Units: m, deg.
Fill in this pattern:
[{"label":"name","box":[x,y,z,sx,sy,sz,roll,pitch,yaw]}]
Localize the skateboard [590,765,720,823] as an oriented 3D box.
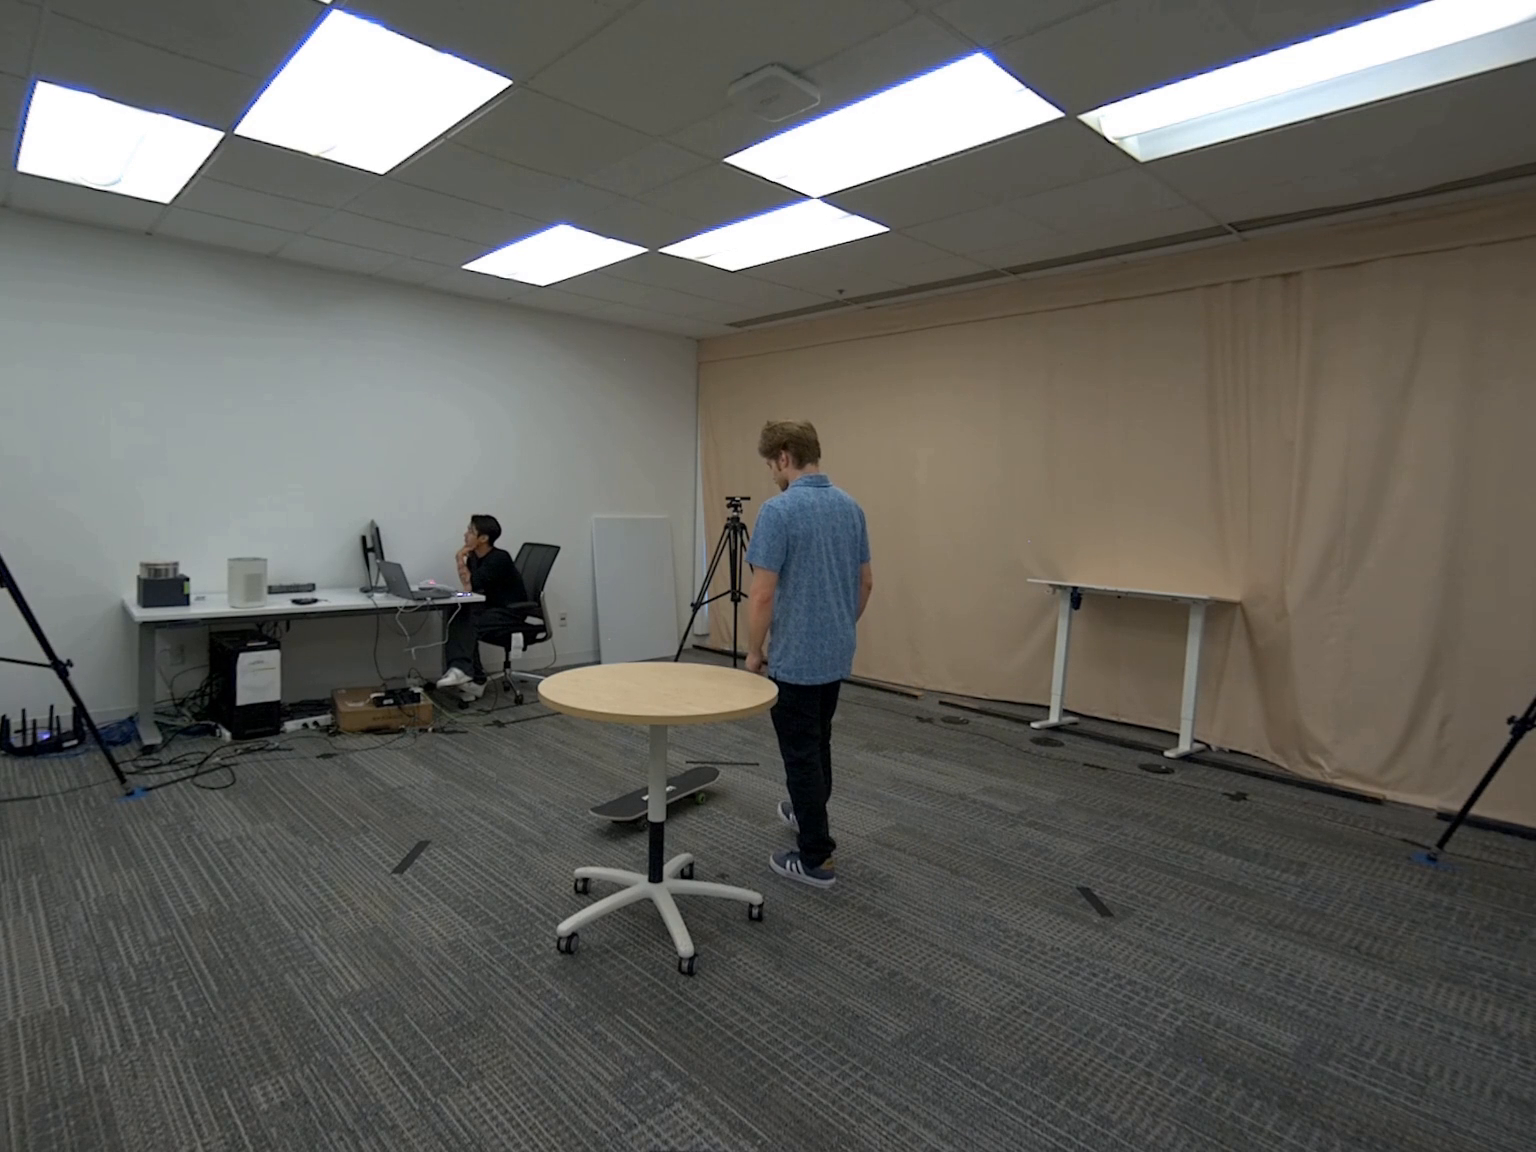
[{"label":"skateboard","box":[-0.490,0.985,3.714,0.198,0.110,0.769,4,6,32]}]
